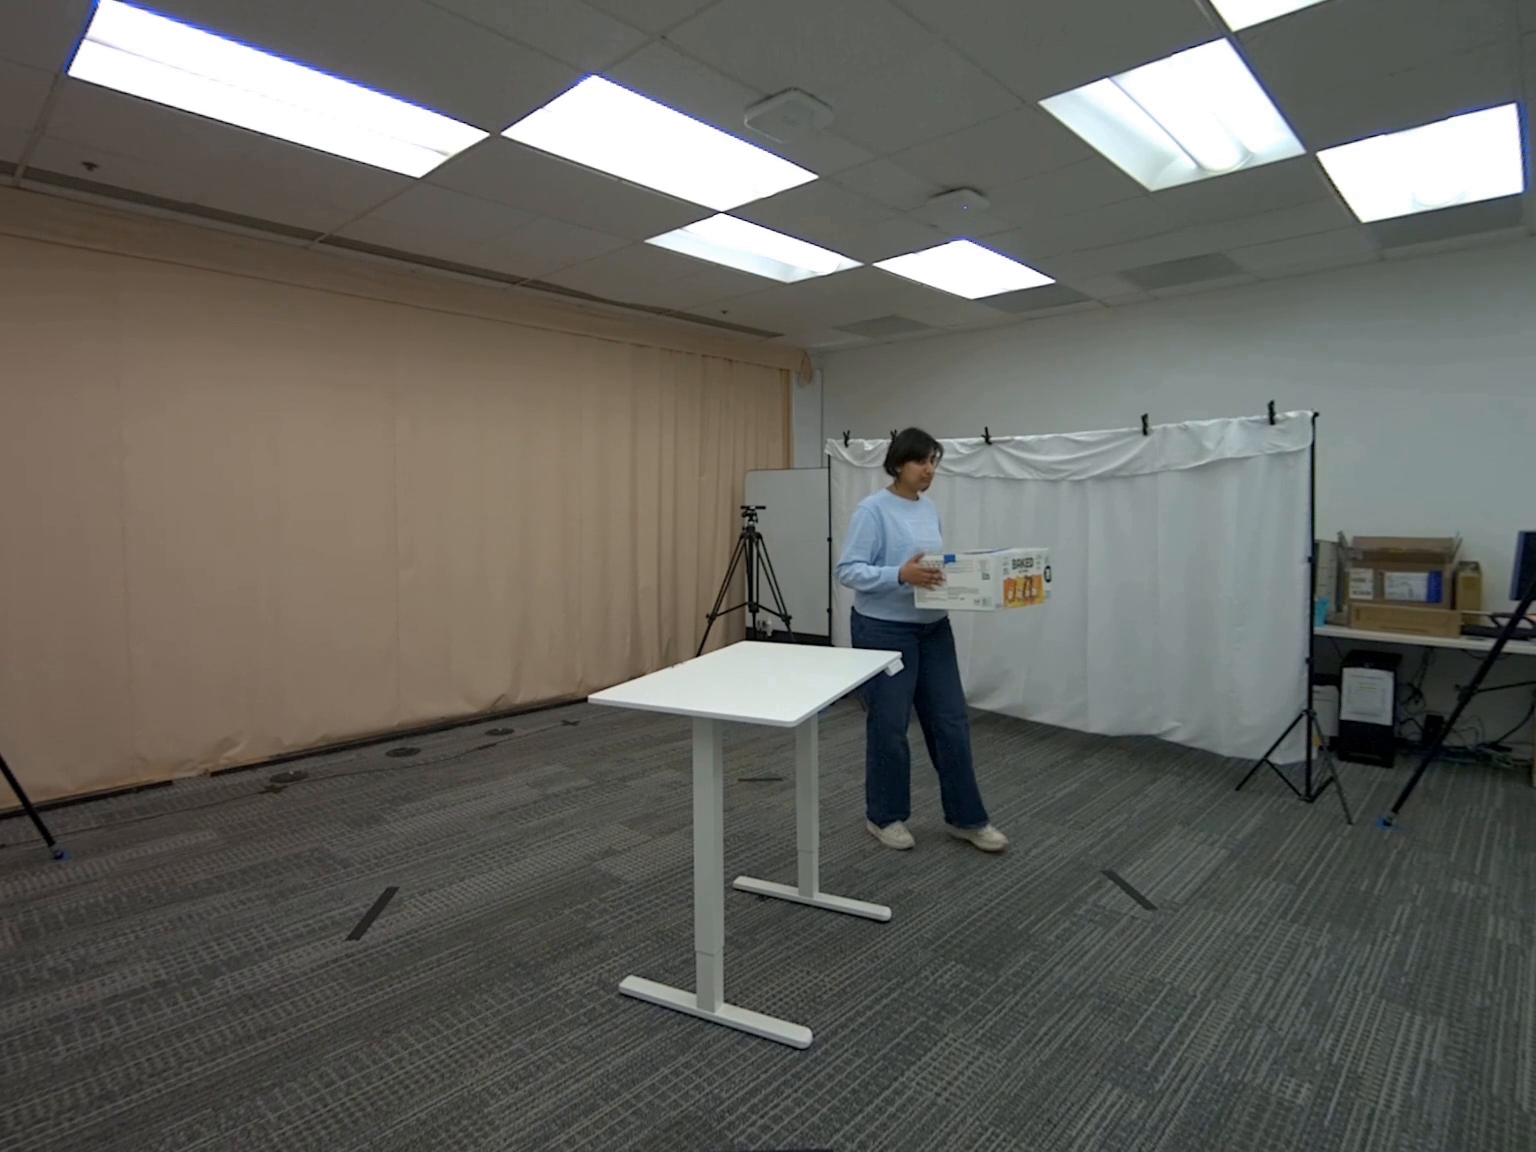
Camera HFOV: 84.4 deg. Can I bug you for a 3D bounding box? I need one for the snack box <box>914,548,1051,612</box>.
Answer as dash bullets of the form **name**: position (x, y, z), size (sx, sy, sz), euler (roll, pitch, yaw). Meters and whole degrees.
- **snack box**: position (0.819, 0.012, 3.181), size (0.393, 0.205, 0.351), euler (-5, 3, -43)
